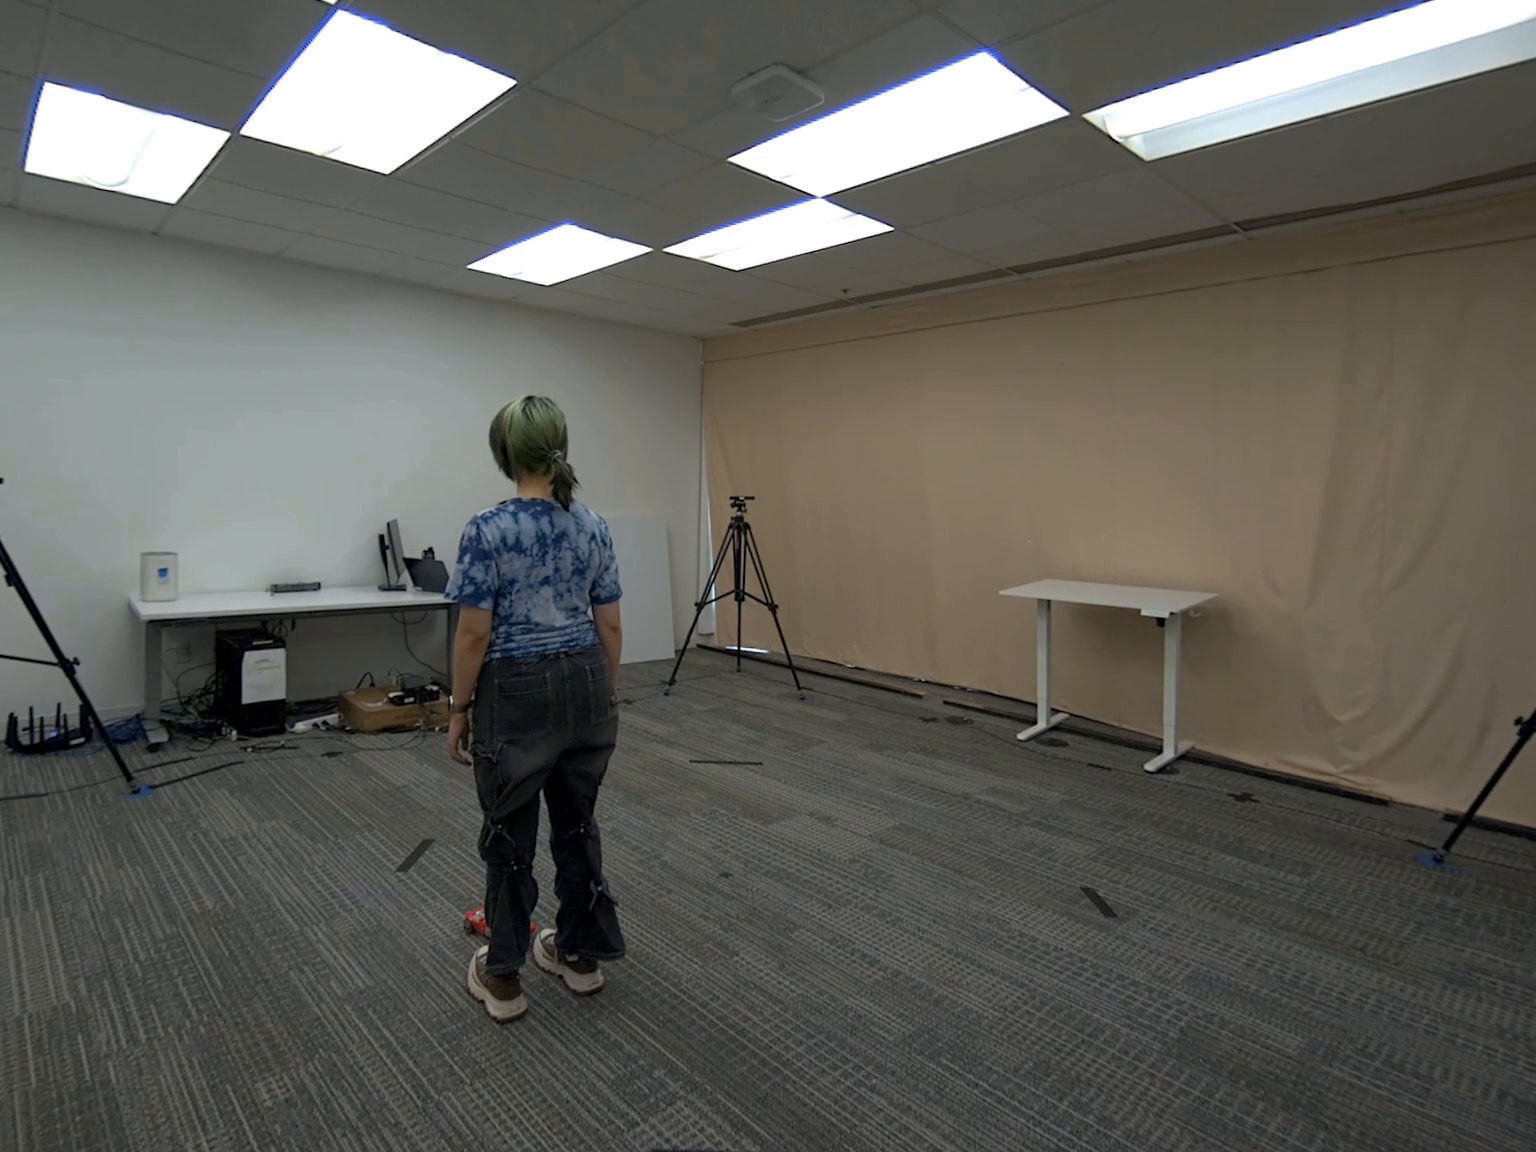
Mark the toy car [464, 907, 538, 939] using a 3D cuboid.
[{"bbox_3d":[-0.844,1.104,2.638,0.259,0.083,0.127,-8,-2,35],"label":"toy car"}]
